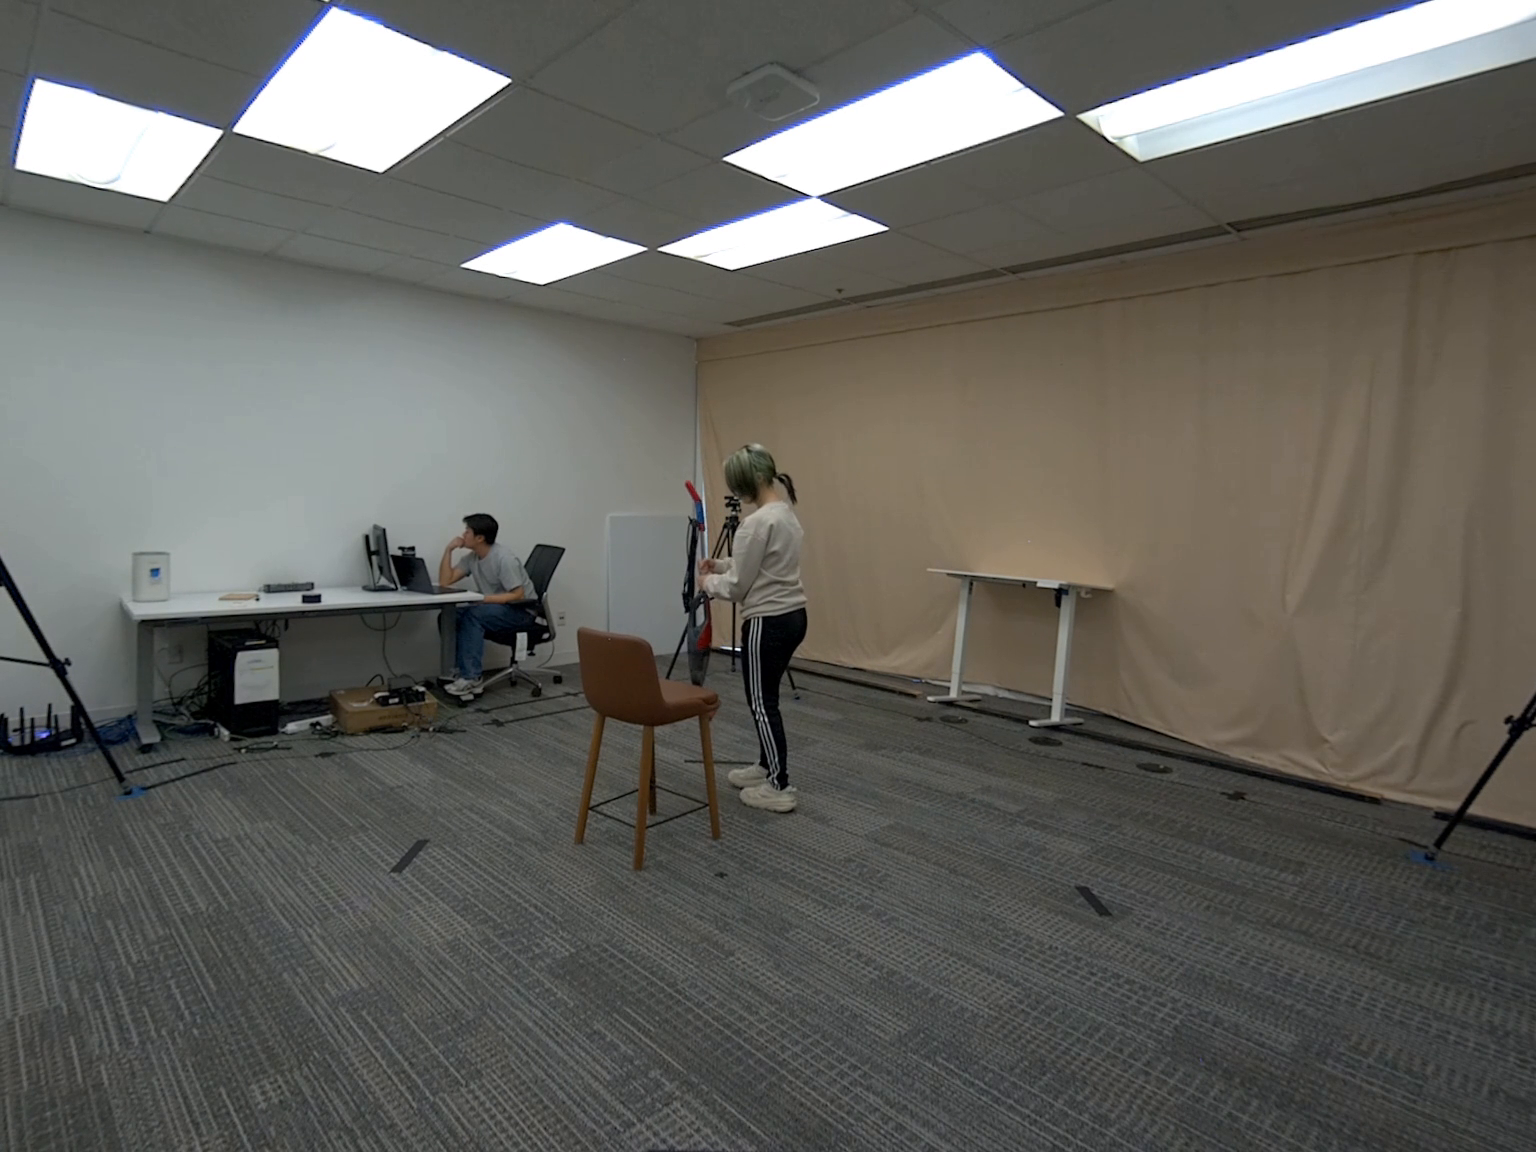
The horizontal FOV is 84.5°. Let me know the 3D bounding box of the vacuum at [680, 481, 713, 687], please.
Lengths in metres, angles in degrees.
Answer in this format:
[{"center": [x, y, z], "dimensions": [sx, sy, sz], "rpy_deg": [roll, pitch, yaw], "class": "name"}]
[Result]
[{"center": [-0.341, 0.087, 3.937], "dimensions": [0.146, 1.045, 0.249], "rpy_deg": [-2, 5, 24], "class": "vacuum"}]
